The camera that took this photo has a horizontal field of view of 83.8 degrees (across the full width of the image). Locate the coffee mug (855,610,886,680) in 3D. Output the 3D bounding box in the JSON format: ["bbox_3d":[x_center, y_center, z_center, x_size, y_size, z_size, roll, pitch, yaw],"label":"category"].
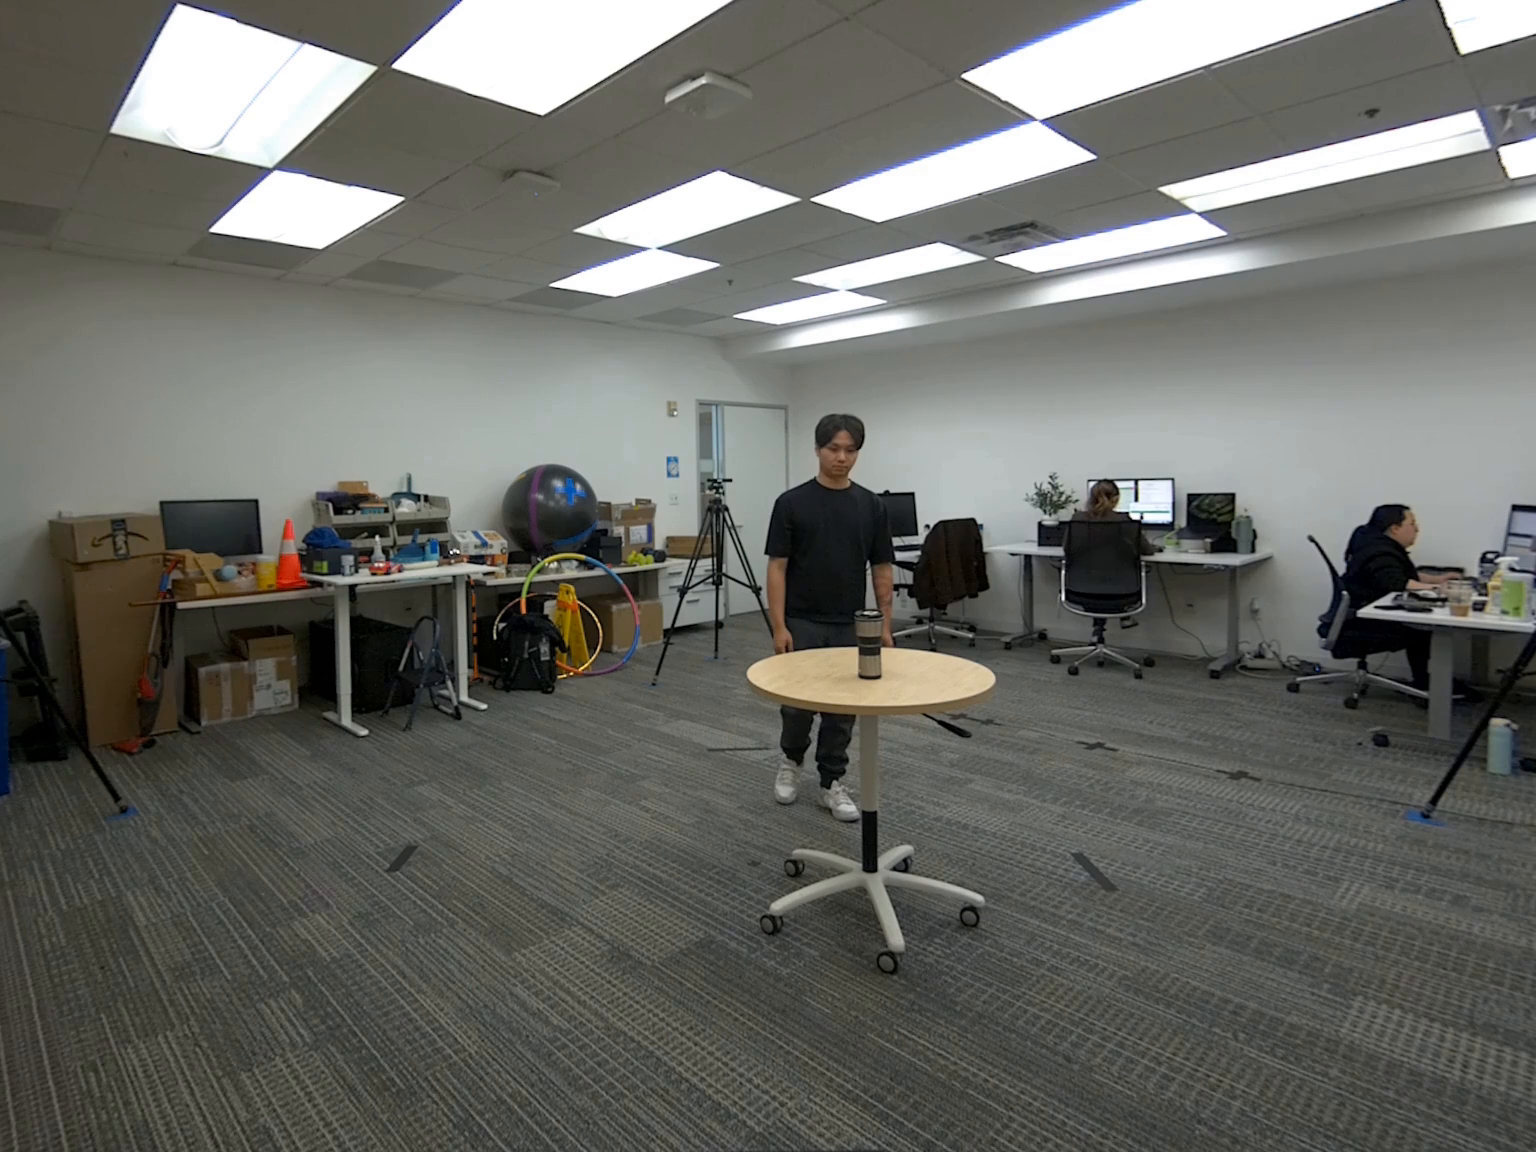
[{"bbox_3d":[0.327,0.212,2.637,0.090,0.202,0.119,-3,5,38],"label":"coffee mug"}]
